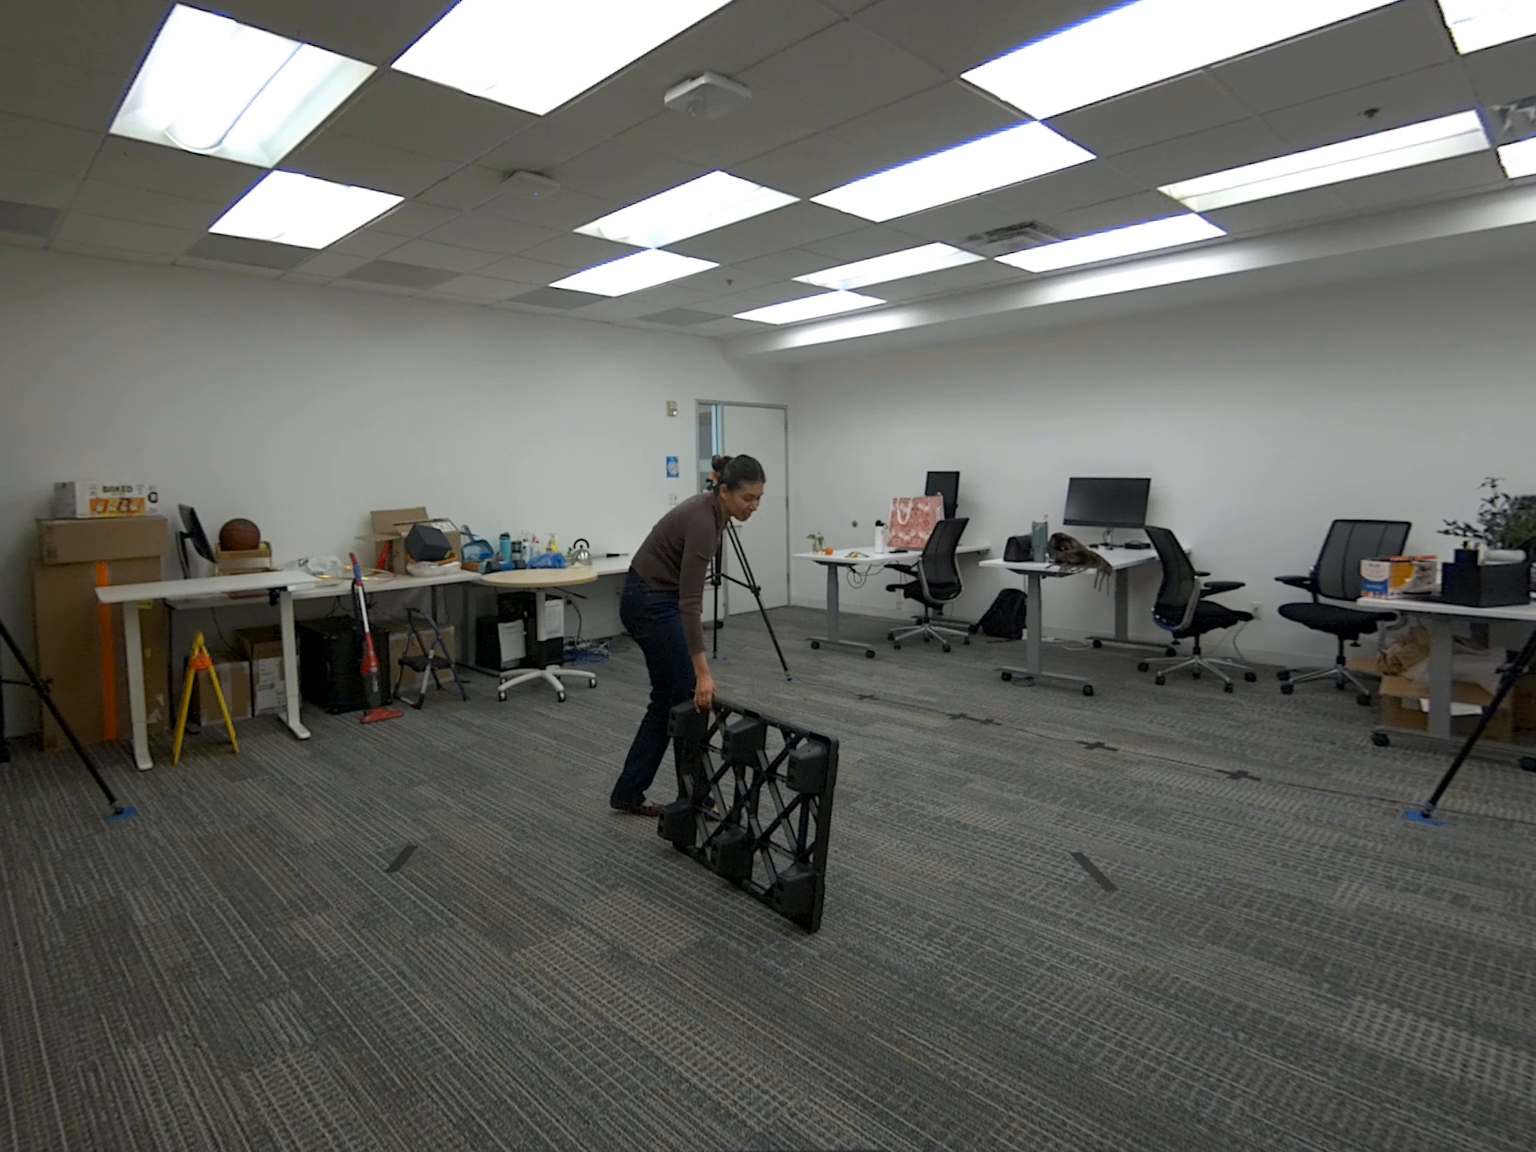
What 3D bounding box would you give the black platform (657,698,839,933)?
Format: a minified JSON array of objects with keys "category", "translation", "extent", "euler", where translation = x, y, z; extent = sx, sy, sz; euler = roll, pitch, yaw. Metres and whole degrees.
[{"category":"black platform","translation":[-0.098,0.765,2.913],"extent":[0.139,0.606,0.830],"euler":[8,-1,-37]}]
